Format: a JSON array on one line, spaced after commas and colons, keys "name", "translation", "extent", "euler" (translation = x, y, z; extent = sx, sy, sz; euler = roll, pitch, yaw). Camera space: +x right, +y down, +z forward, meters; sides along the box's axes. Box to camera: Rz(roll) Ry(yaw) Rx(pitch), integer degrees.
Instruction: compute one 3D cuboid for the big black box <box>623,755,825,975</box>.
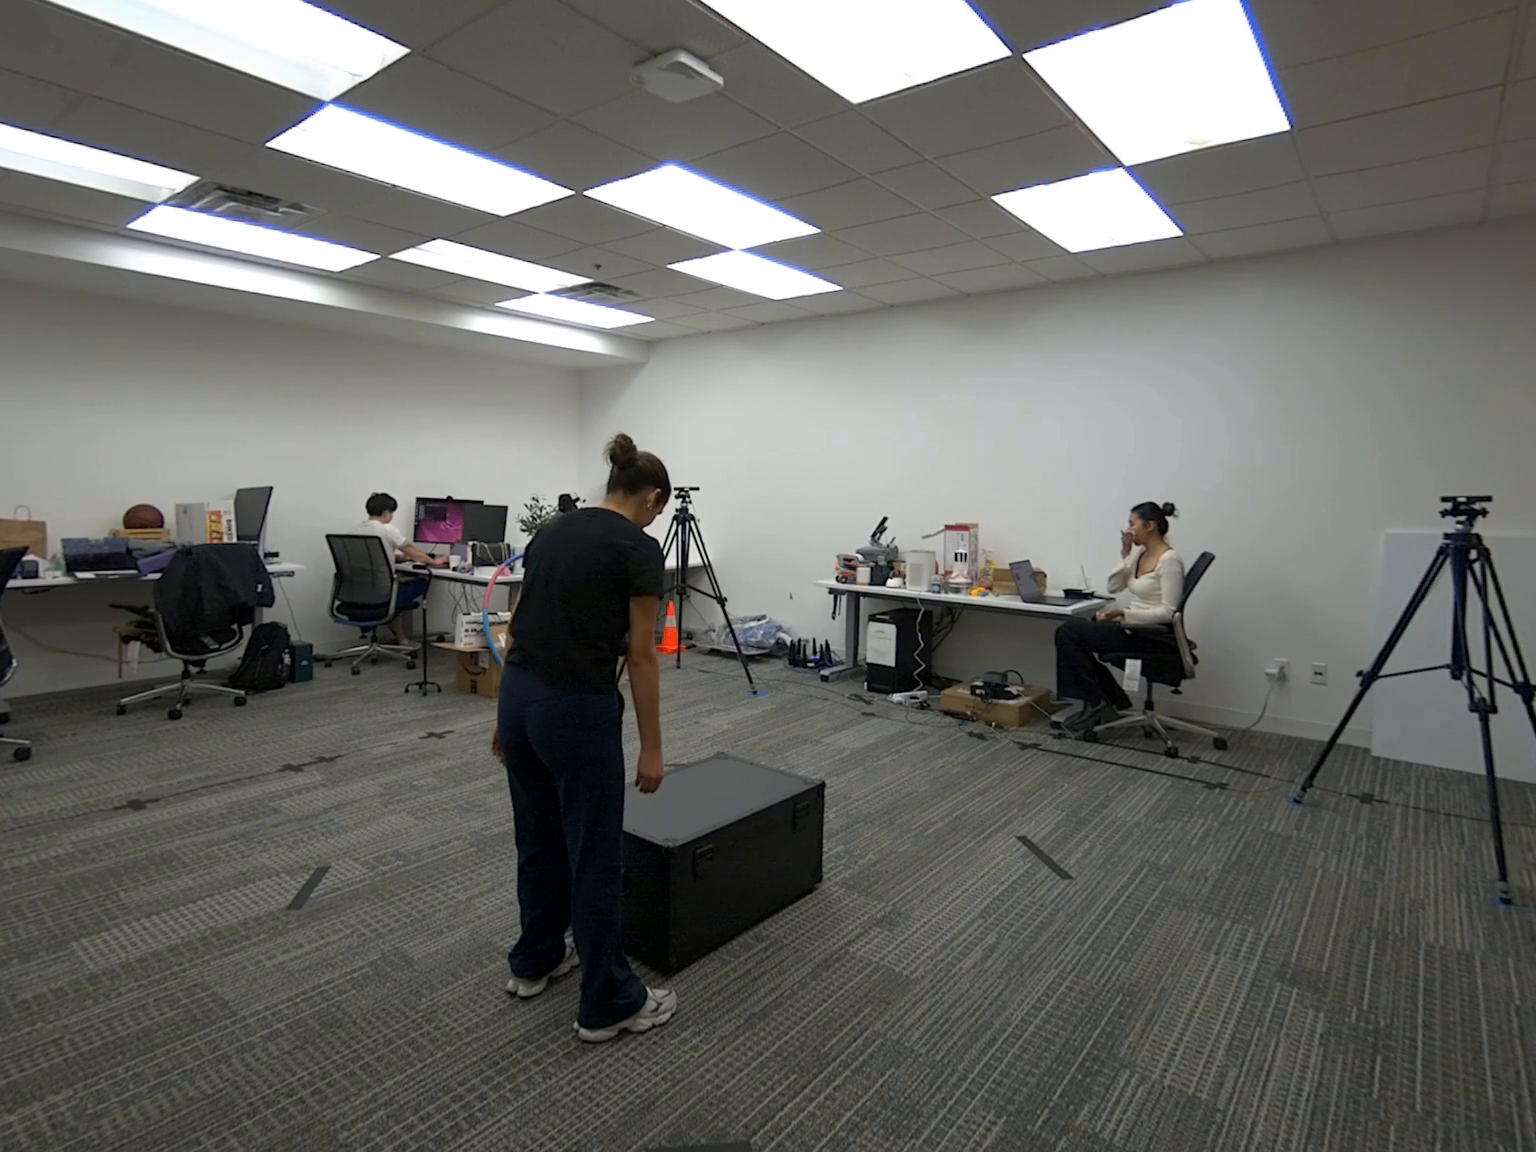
[{"name": "big black box", "translation": [-0.196, 0.900, 2.863], "extent": [0.539, 0.394, 0.837], "euler": [5, 7, 39]}]
